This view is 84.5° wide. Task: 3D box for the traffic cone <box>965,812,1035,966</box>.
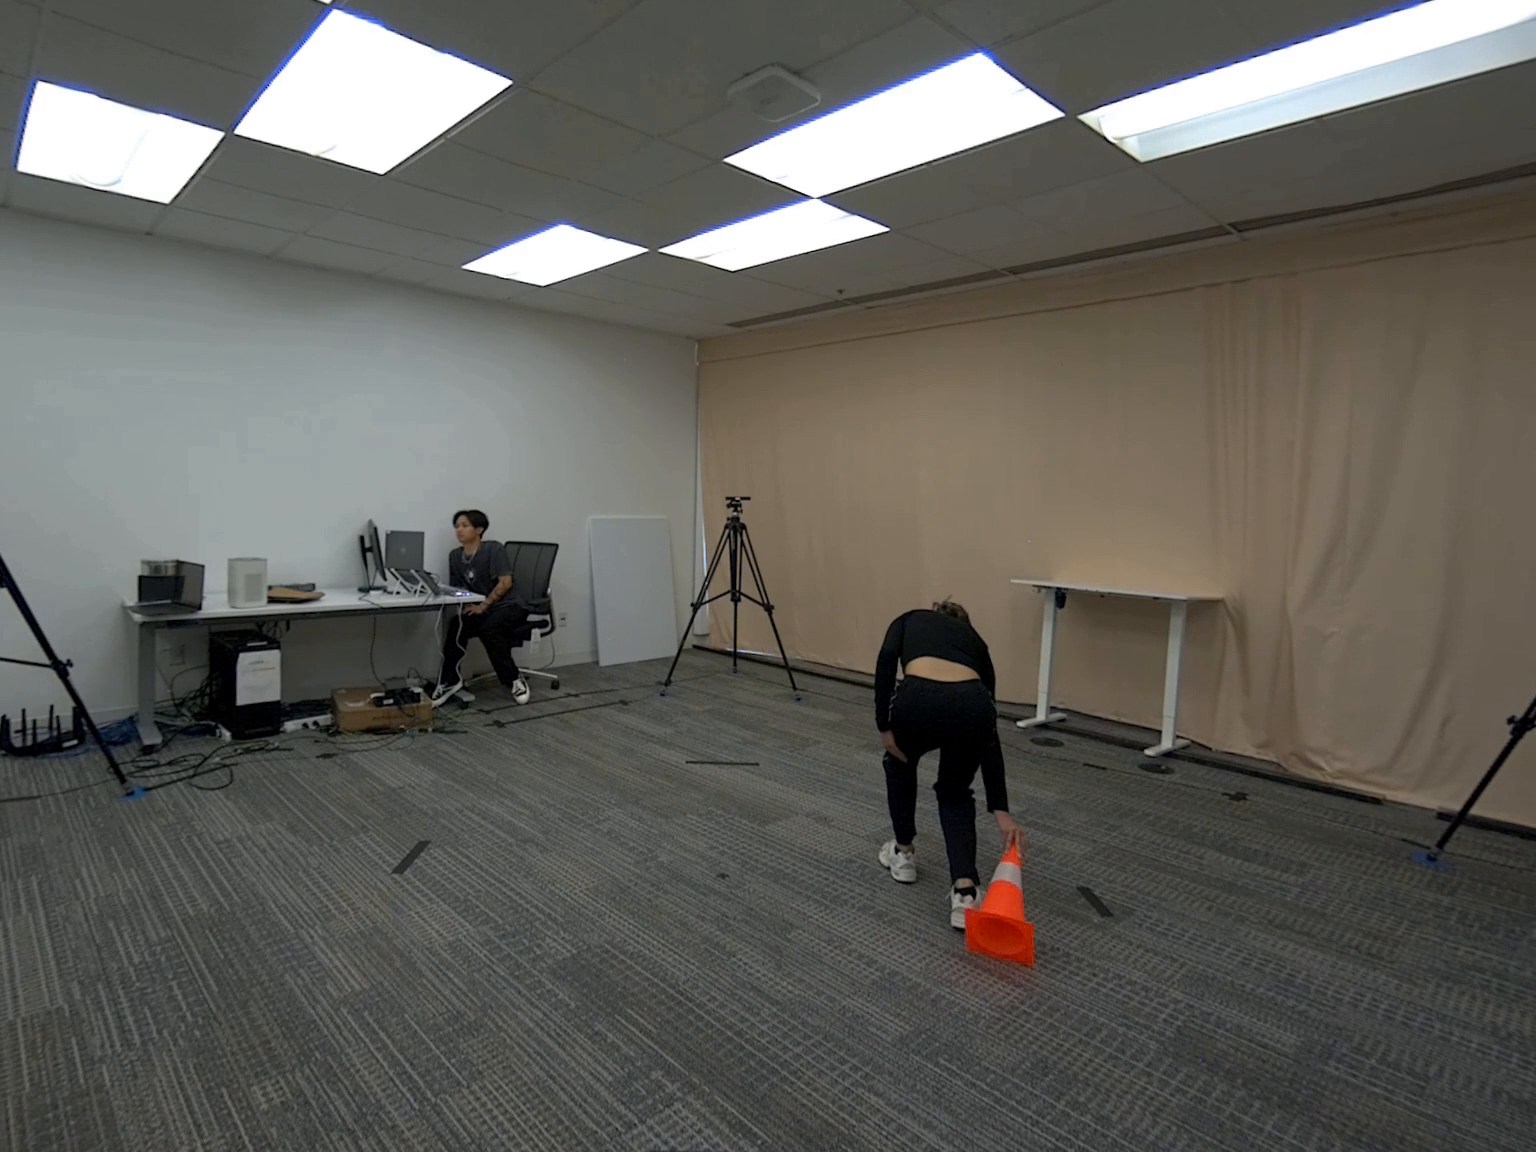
[{"bbox_3d":[0.761,0.999,2.687,0.209,0.199,0.385,-2,31,27],"label":"traffic cone"}]
